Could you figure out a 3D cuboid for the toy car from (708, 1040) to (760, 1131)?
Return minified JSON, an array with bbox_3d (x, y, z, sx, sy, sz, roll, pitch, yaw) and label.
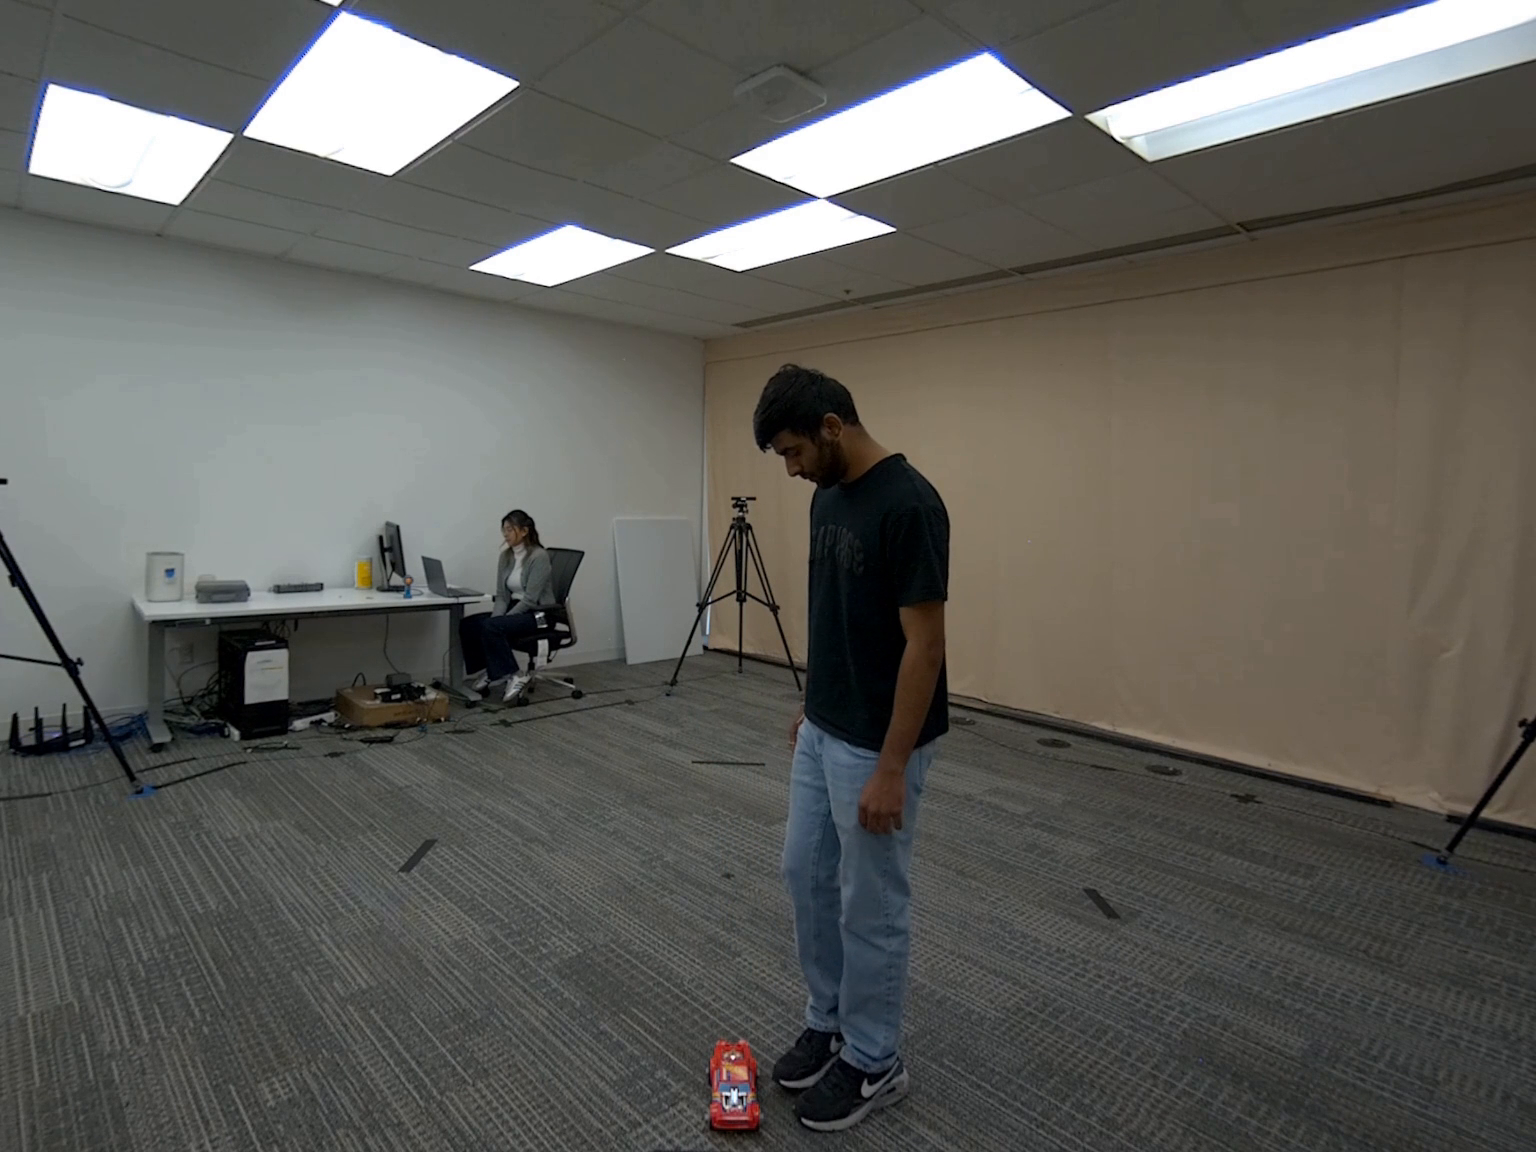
[{"bbox_3d":[-0.082,1.180,1.957,0.130,0.082,0.257,0,15,-2],"label":"toy car"}]
